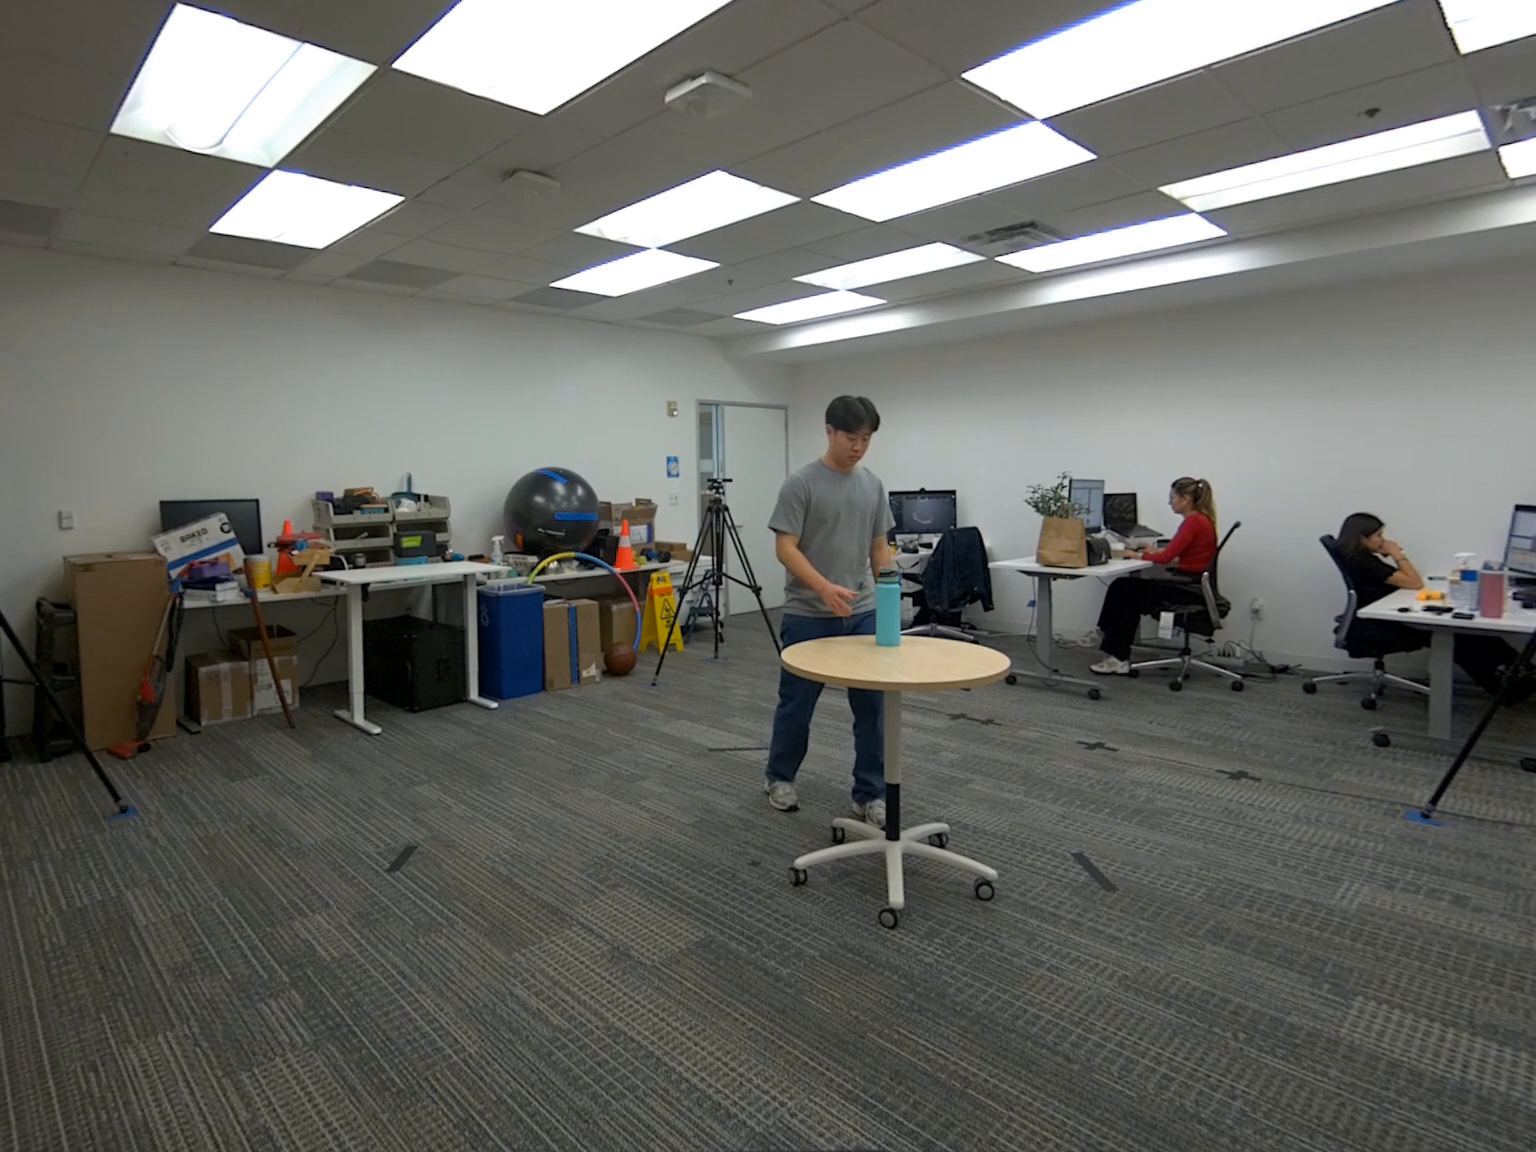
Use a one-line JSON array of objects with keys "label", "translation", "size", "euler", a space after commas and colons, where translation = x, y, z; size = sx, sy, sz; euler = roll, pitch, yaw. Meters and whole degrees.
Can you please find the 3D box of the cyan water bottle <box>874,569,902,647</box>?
[{"label": "cyan water bottle", "translation": [0.442, 0.115, 3.121], "size": [0.092, 0.283, 0.092], "euler": [2, 1, -2]}]
